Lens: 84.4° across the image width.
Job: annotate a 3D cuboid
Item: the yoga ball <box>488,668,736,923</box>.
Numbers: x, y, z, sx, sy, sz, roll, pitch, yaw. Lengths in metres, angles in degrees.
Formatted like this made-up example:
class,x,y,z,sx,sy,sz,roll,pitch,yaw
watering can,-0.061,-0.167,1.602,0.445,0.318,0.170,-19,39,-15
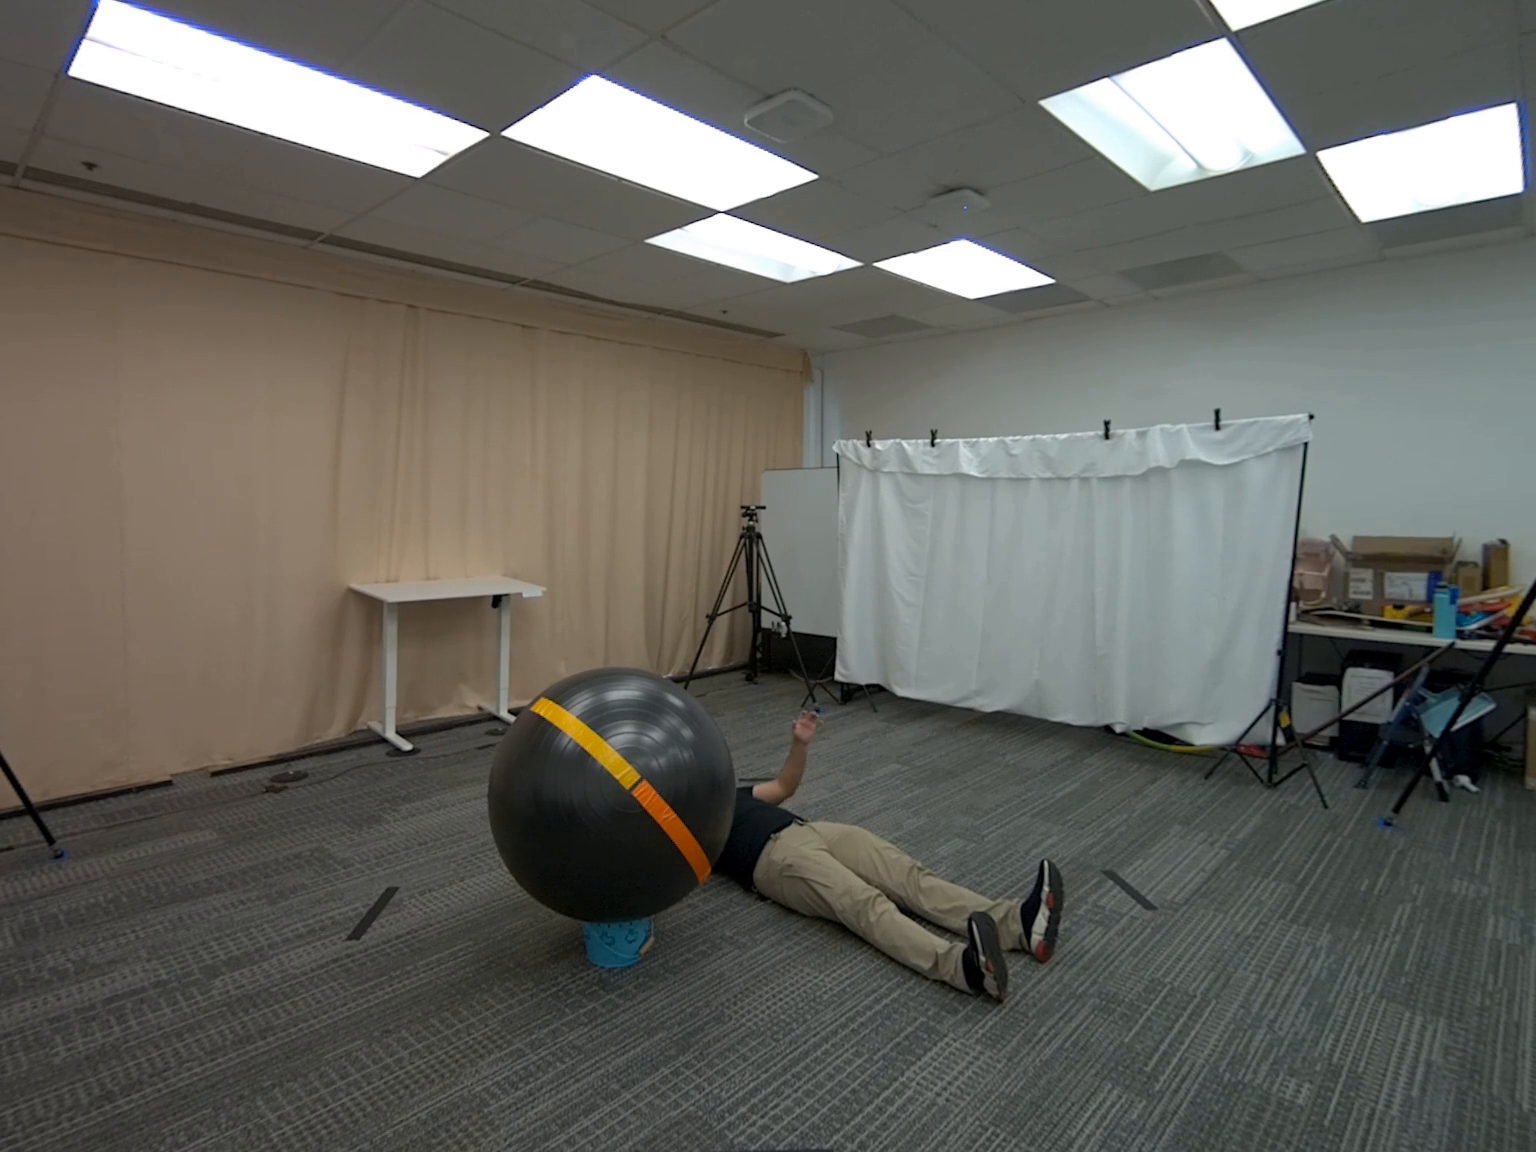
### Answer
class,x,y,z,sx,sy,sz,roll,pitch,yaw
yoga ball,-0.475,0.667,2.612,0.757,0.756,0.761,0,4,-2
